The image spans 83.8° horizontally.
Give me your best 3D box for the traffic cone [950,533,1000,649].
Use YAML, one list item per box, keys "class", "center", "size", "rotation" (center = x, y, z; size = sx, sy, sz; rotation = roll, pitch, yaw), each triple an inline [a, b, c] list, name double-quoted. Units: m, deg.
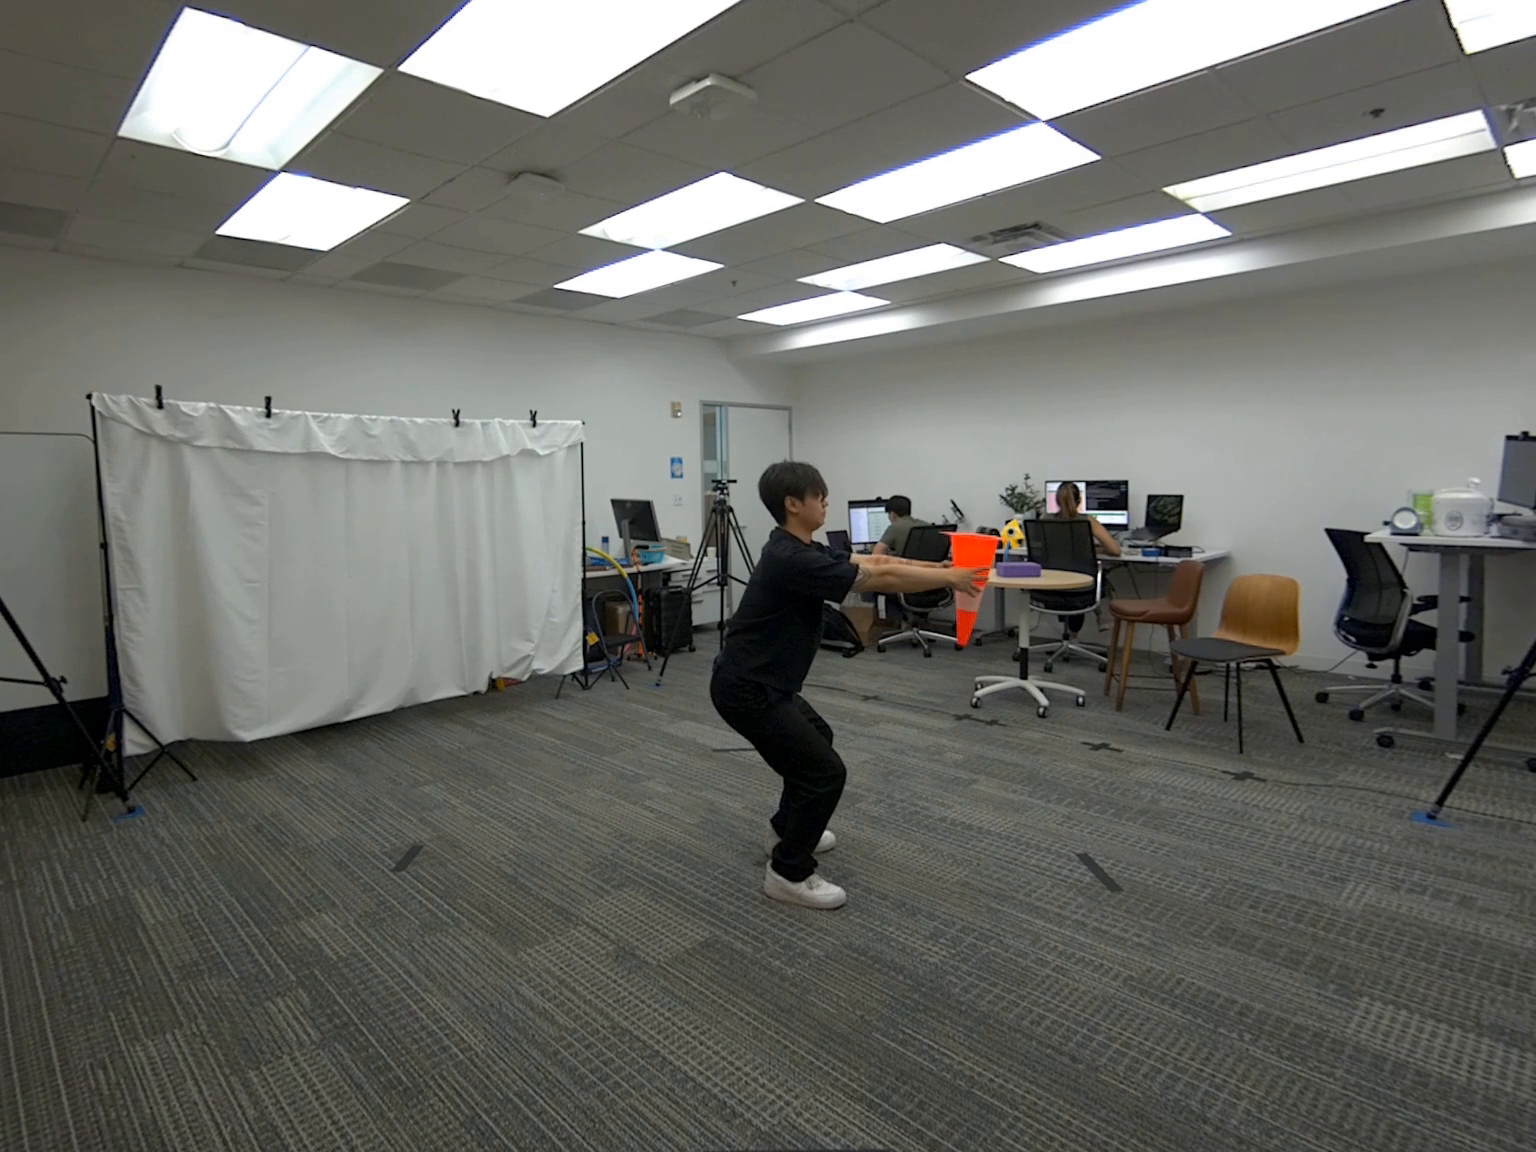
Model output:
- class: "traffic cone"
  center: [0.697, 0.059, 2.934]
  size: [0.202, 0.383, 0.207]
  rotation: [5, 2, -8]
